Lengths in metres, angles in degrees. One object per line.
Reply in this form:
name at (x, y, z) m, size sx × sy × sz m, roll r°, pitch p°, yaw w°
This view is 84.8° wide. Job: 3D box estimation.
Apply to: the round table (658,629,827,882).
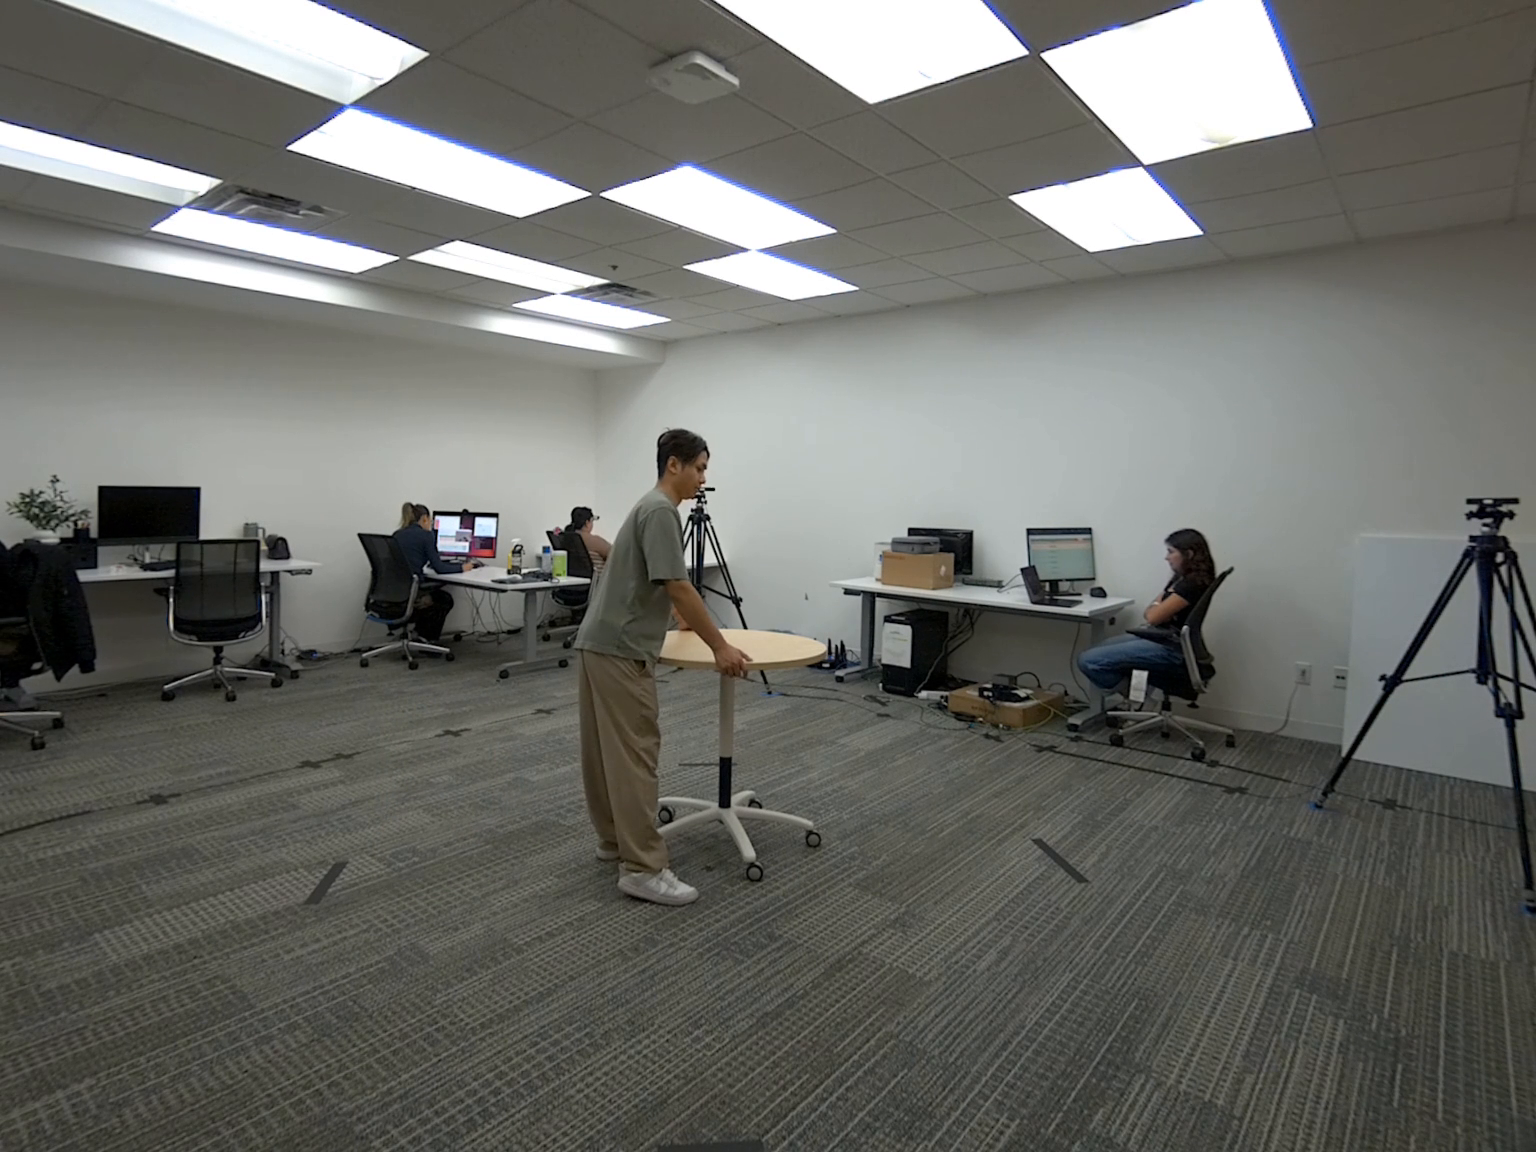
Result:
round table at (-0.156, 0.653, 3.341) m, size 0.784 × 0.784 × 0.789 m, roll 1°, pitch 4°, yaw -2°
